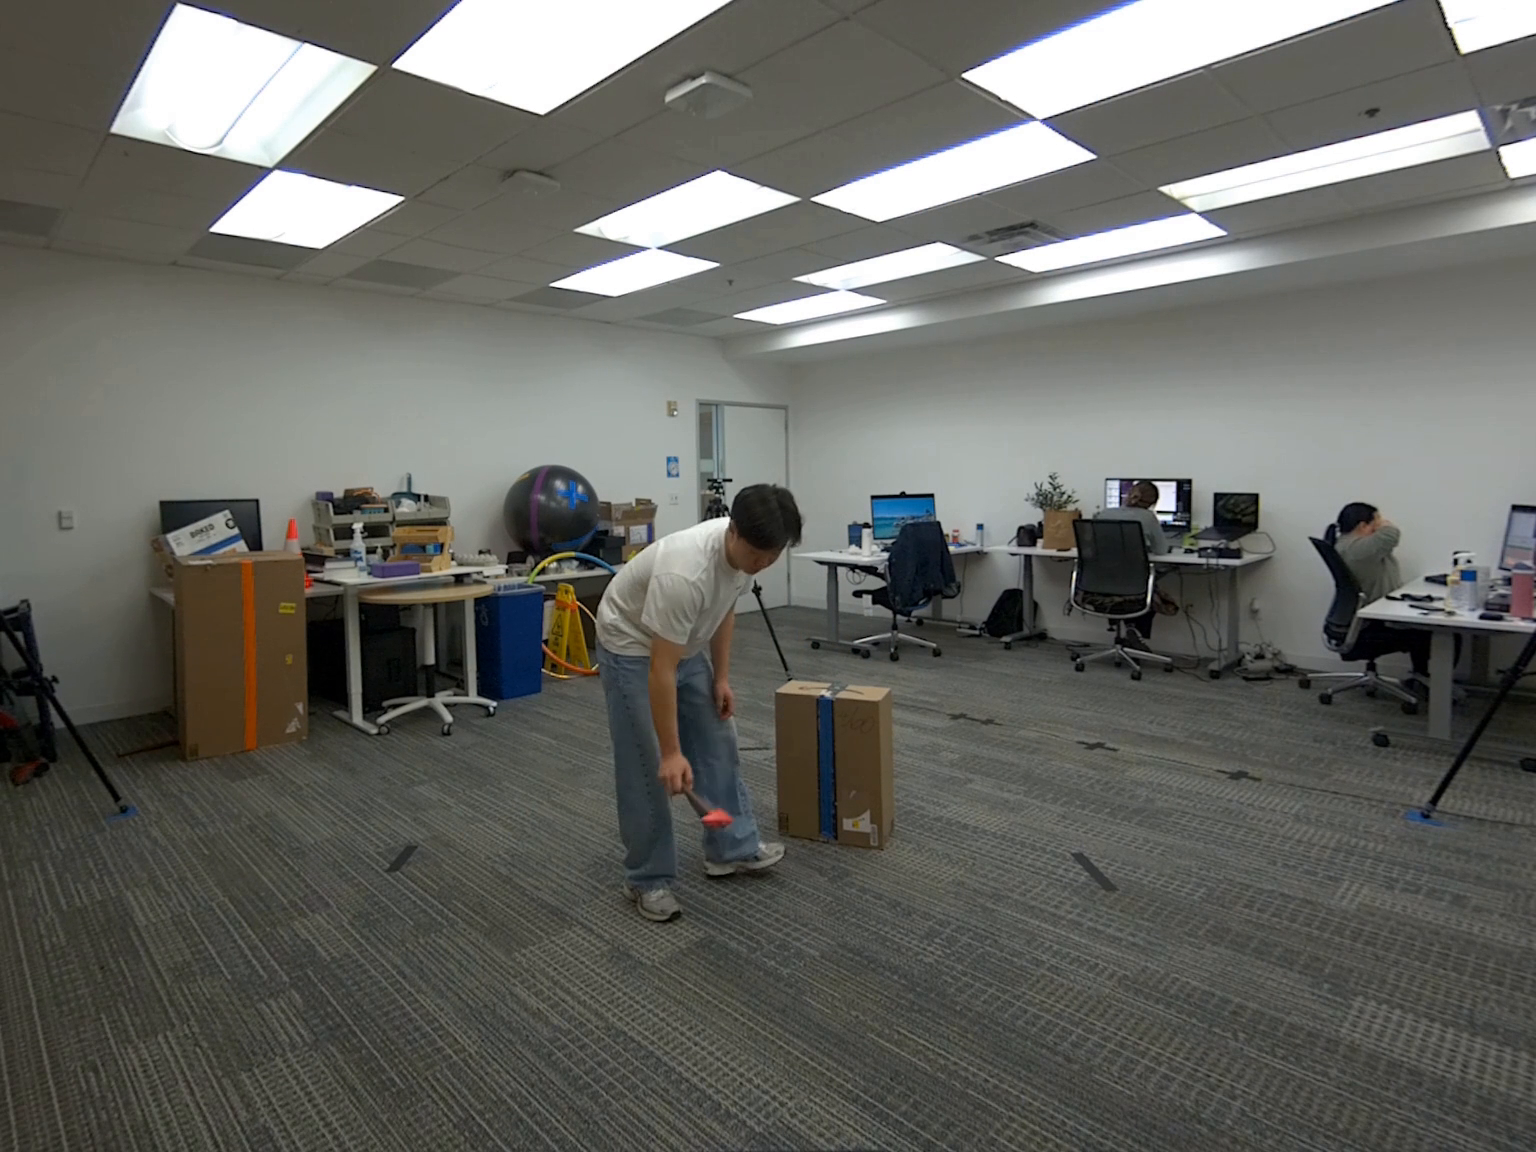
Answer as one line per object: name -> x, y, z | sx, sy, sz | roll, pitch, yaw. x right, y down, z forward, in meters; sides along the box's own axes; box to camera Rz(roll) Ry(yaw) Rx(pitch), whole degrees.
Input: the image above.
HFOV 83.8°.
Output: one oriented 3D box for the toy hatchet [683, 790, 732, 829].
toy hatchet -> -0.187, 0.660, 2.516 | 0.127, 0.029, 0.279 | 20, 11, -30
